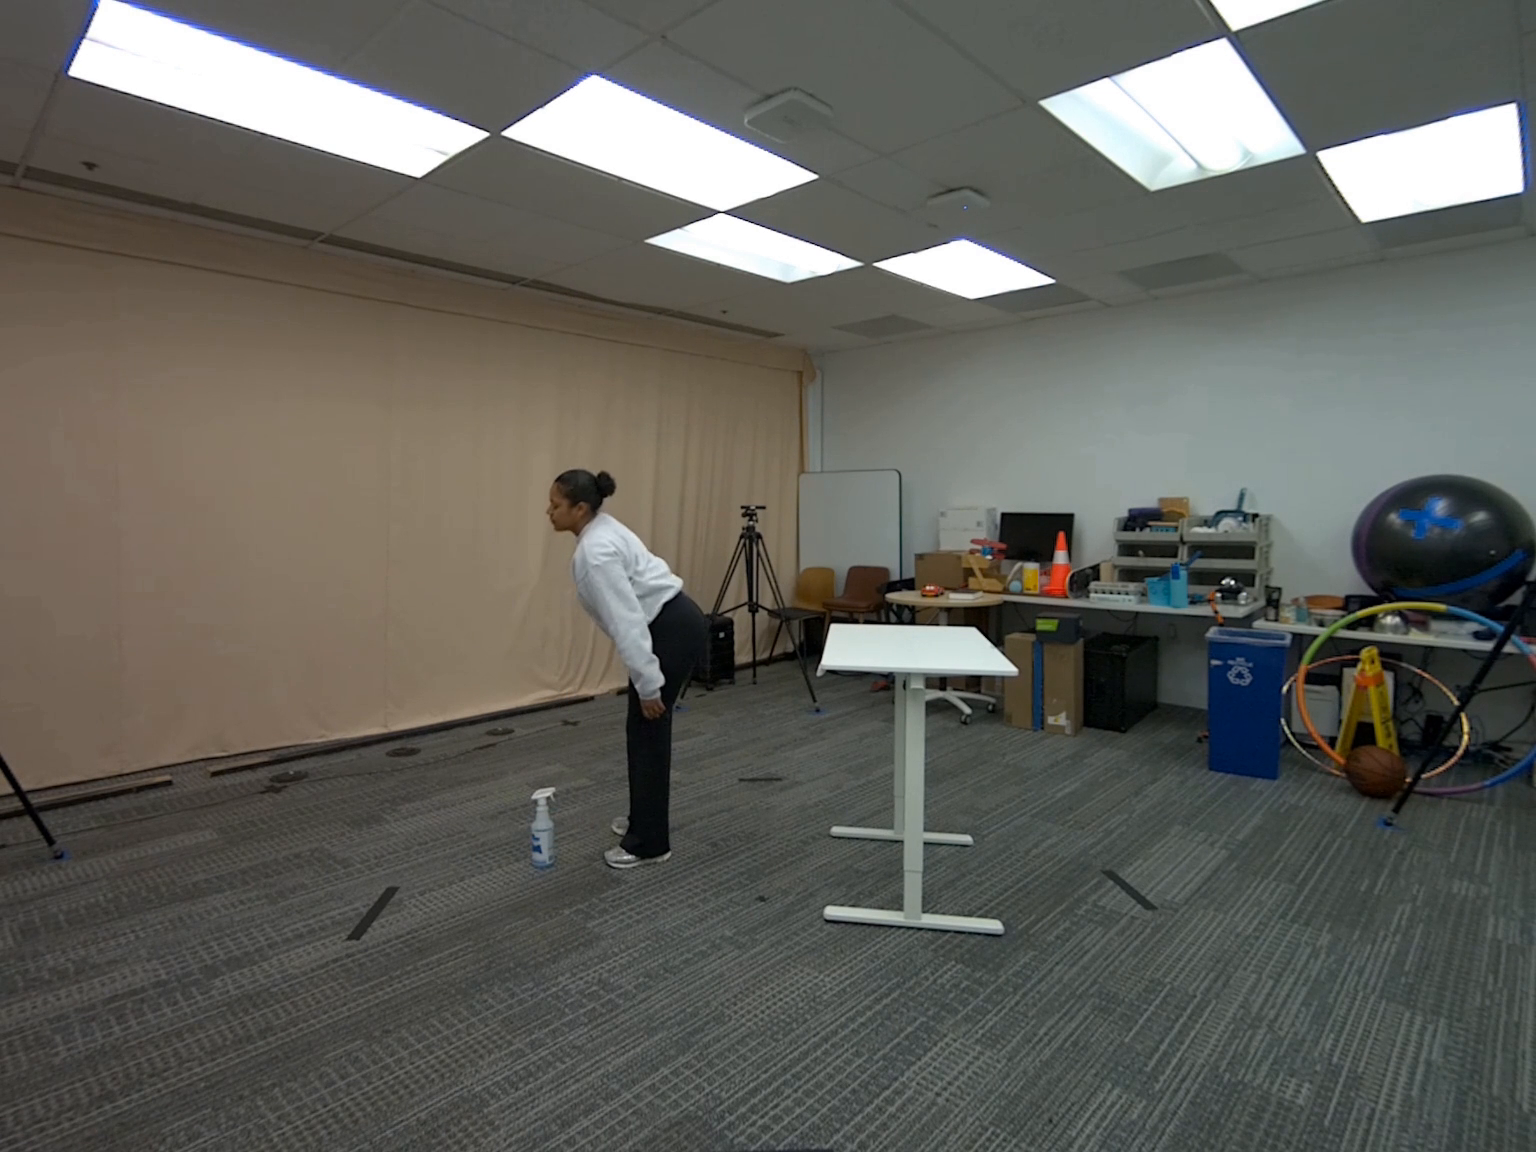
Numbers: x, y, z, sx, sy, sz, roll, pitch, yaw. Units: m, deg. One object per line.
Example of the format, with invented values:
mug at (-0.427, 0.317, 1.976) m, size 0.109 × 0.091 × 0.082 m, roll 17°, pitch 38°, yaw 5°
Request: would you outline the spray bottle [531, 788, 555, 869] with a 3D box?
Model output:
spray bottle at (-0.879, 0.986, 3.289) m, size 0.090 × 0.297 × 0.087 m, roll 2°, pitch 2°, yaw 3°
